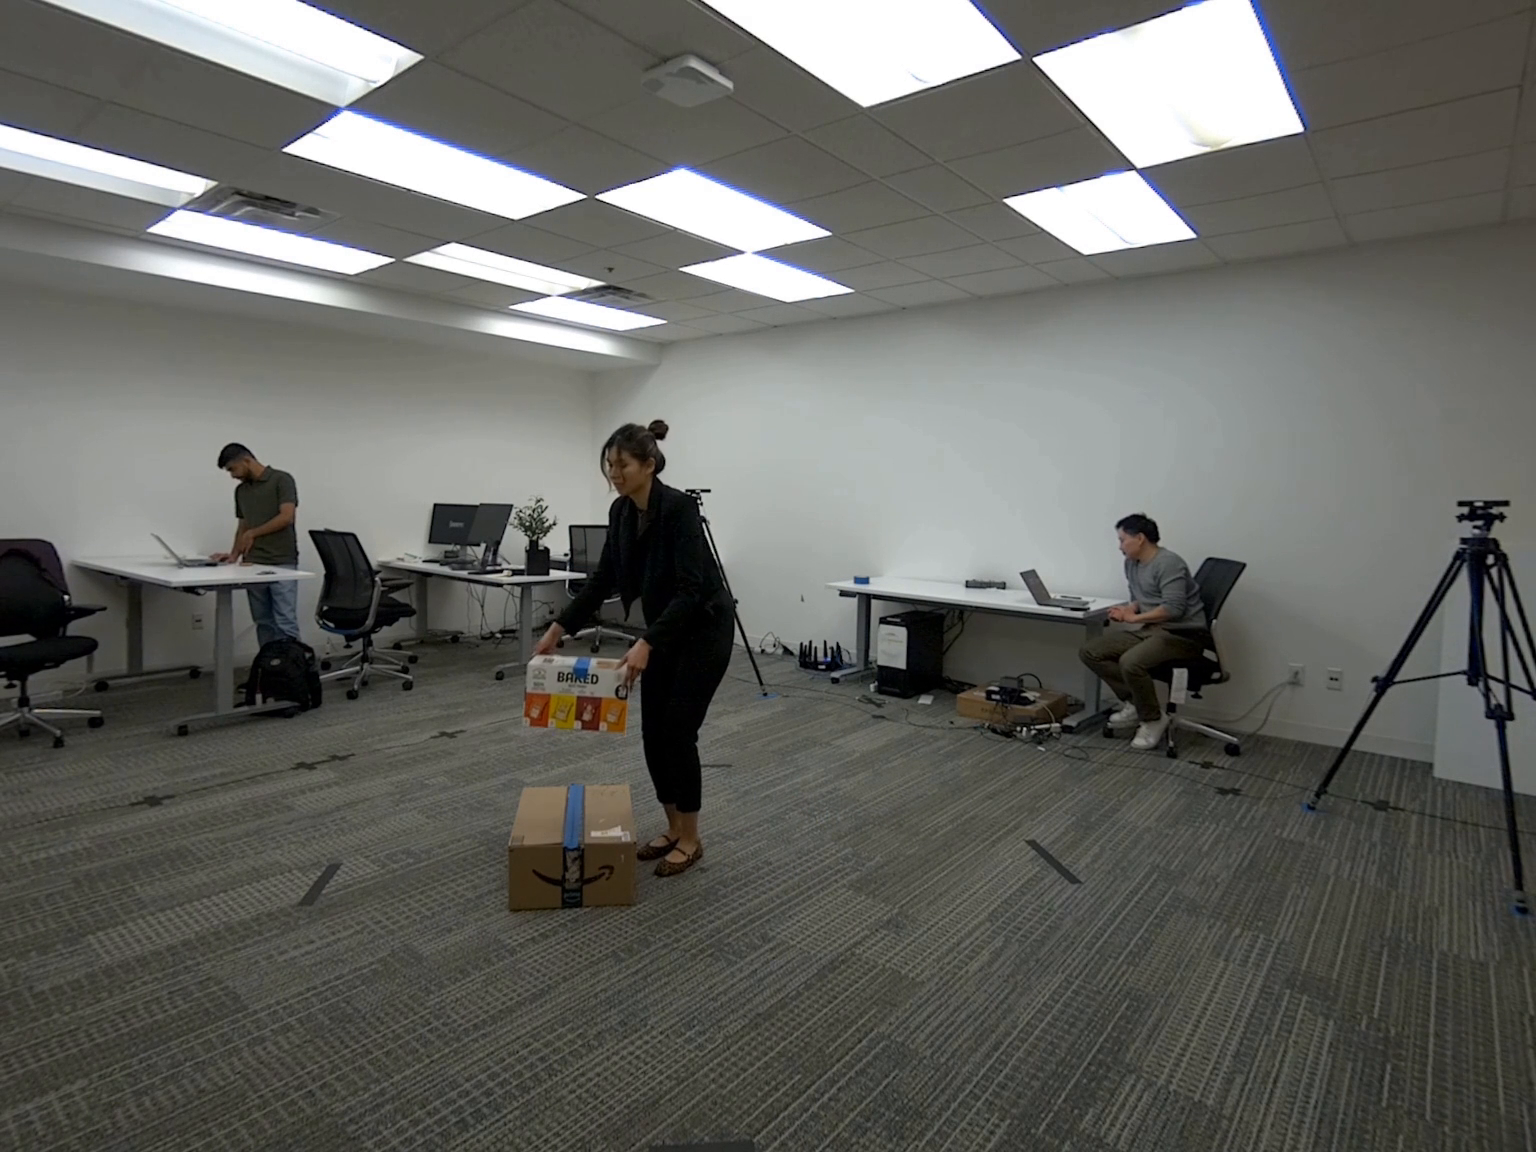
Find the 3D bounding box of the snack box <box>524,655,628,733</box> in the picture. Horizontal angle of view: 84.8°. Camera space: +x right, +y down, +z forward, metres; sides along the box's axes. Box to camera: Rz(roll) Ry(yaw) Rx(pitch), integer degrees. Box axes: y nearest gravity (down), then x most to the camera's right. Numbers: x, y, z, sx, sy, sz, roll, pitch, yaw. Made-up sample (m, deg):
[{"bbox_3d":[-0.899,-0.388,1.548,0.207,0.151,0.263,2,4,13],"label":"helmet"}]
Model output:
[{"bbox_3d":[-0.671,0.405,2.993,0.338,0.206,0.408,5,-1,-8],"label":"snack box"}]
